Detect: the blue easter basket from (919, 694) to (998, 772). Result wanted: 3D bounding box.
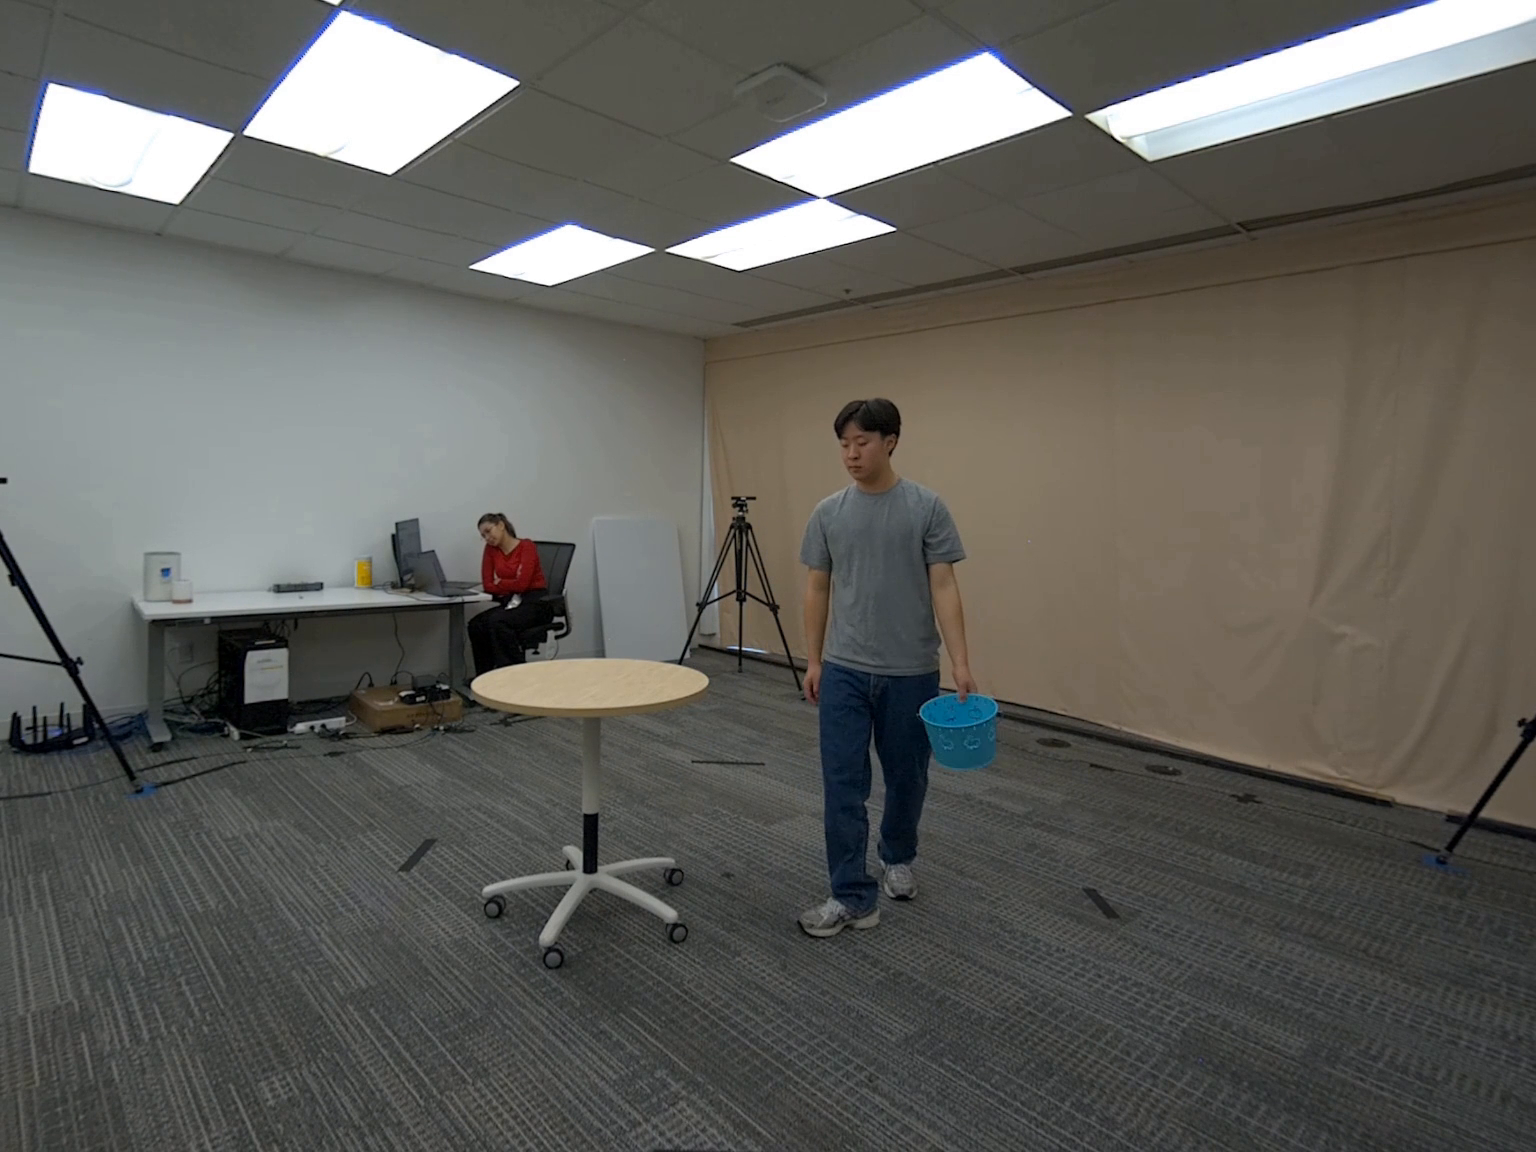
[{"bbox_3d":[0.584,0.469,2.540,0.244,0.154,0.246,-8,14,1],"label":"blue easter basket"}]
